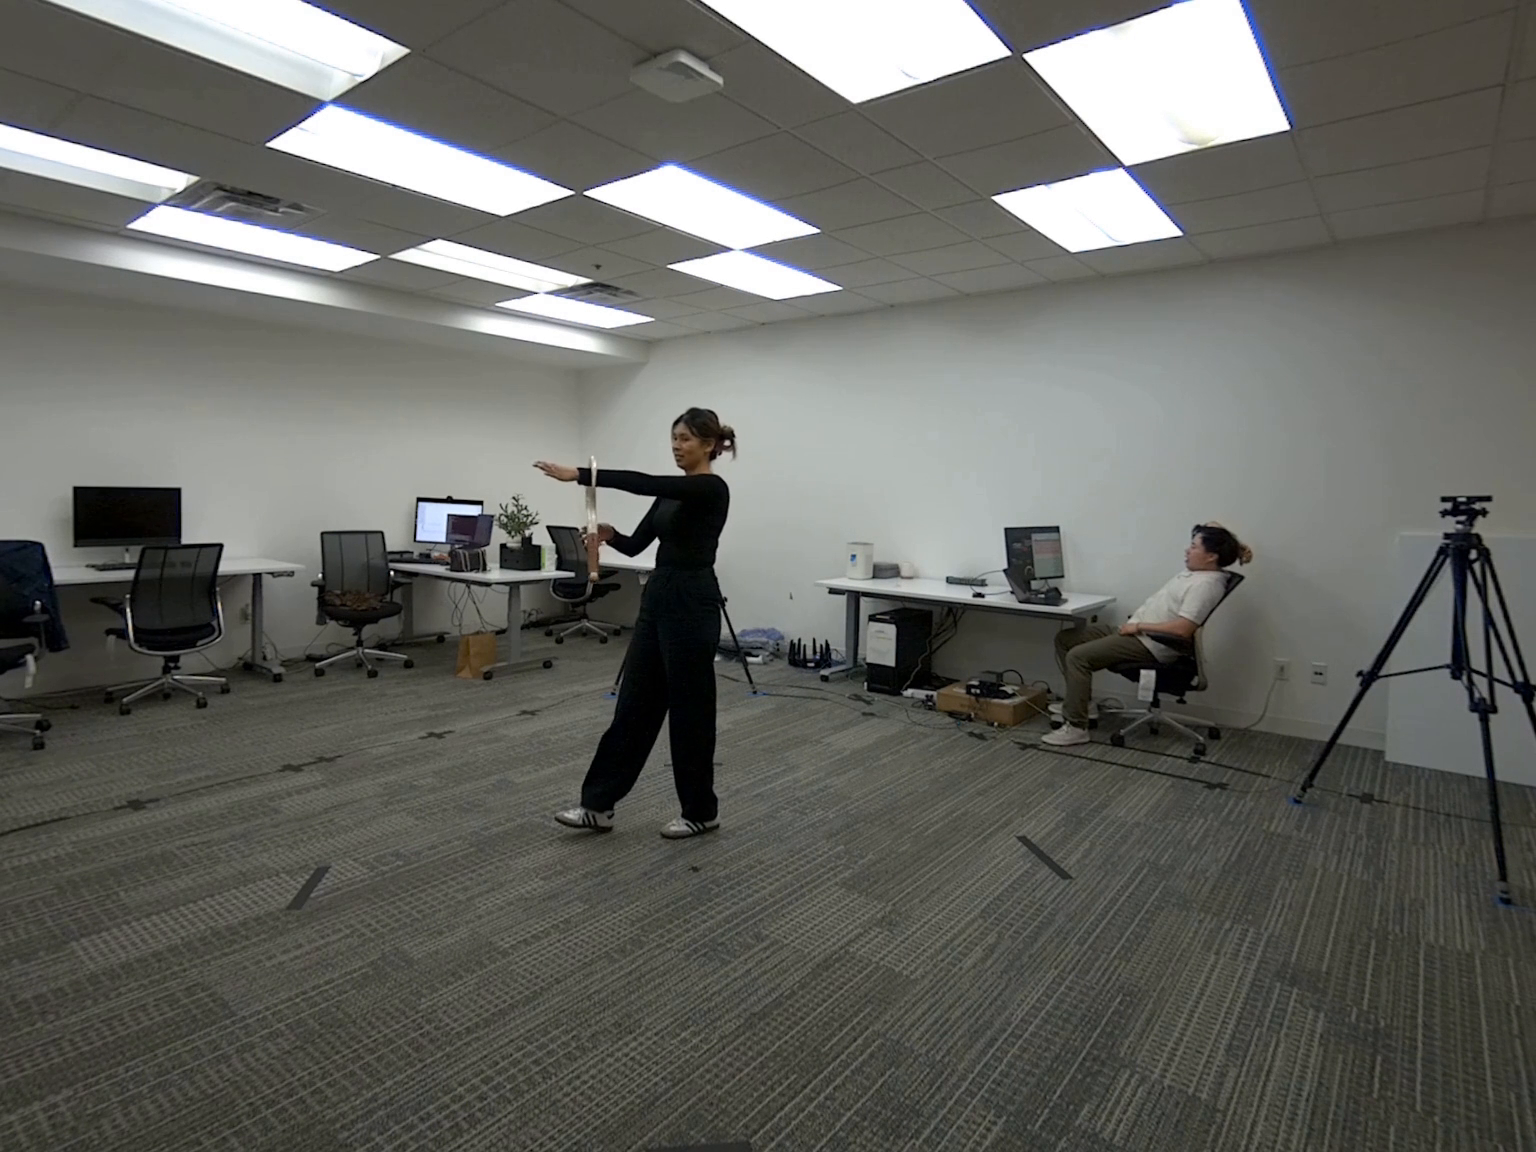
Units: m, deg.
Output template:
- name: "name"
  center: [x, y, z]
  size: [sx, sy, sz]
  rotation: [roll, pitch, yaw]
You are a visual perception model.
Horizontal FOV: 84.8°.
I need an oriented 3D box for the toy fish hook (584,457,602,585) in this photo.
- name: "toy fish hook"
  center: [-0.645, -0.209, 3.011]
  size: [0.048, 0.521, 0.220]
  rotation: [1, -35, -8]
